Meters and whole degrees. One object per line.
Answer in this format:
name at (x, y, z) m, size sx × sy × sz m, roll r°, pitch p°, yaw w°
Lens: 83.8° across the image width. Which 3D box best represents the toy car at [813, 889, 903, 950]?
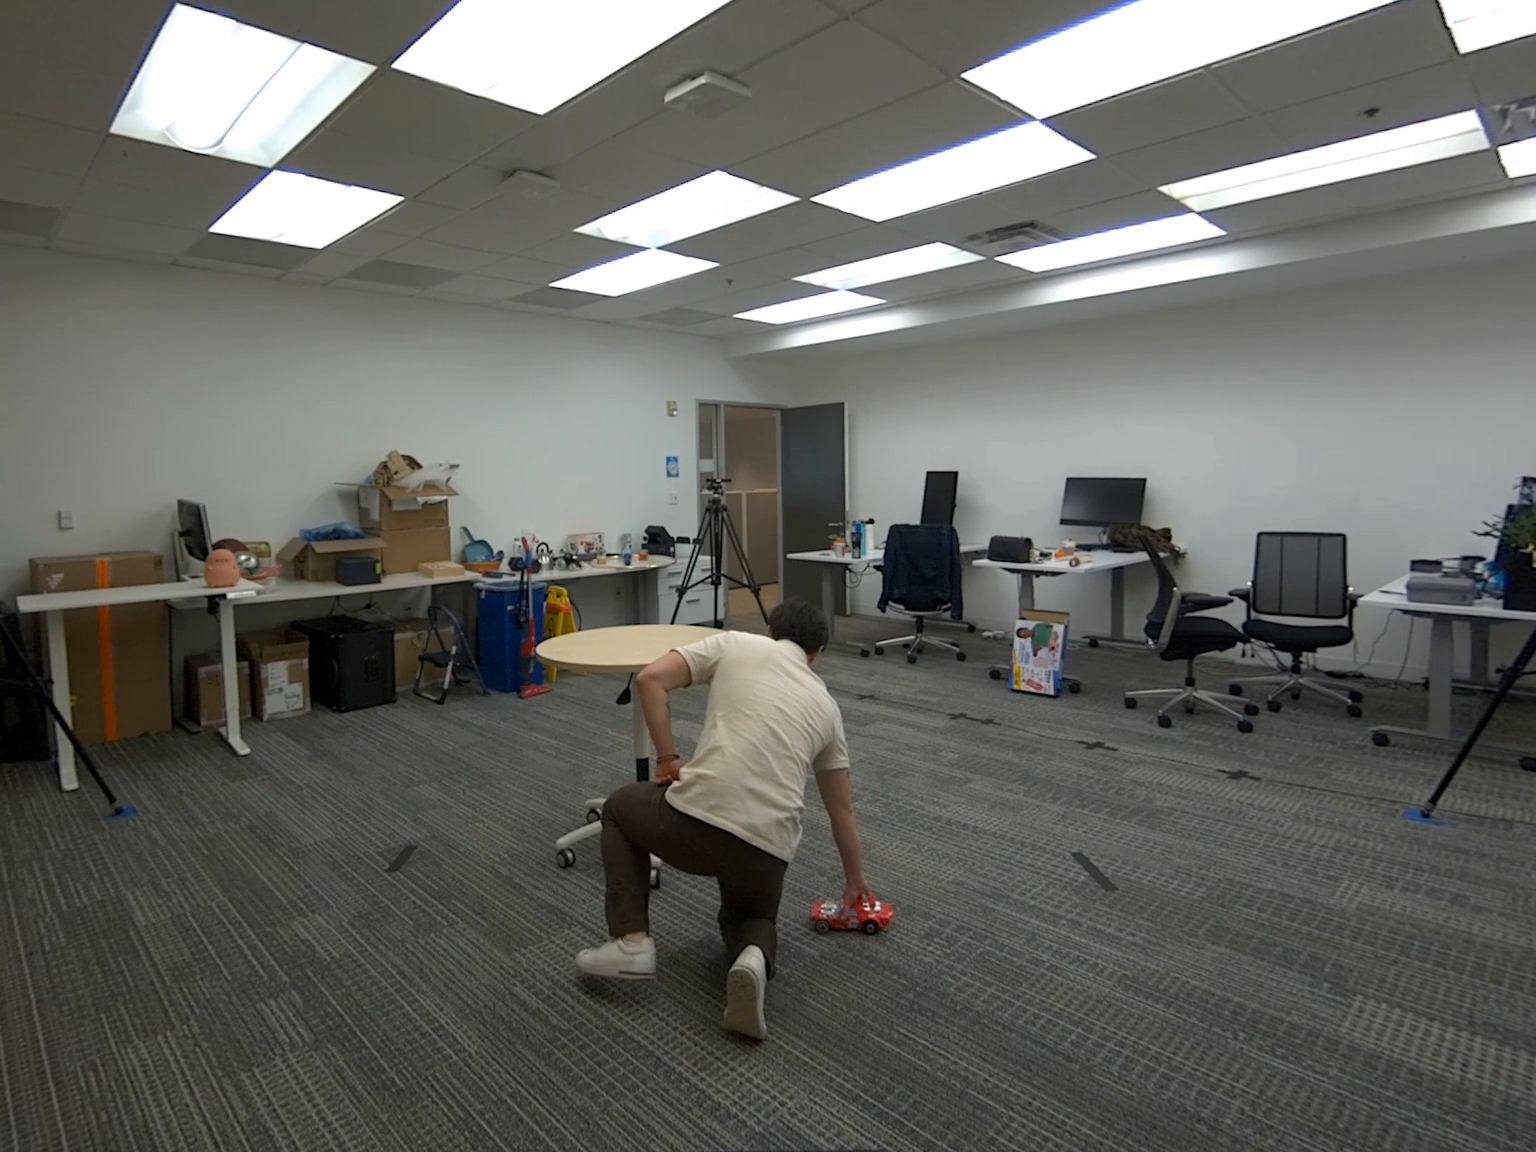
toy car at (0.274, 1.063, 2.656) m, size 0.256 × 0.083 × 0.130 m, roll -12°, pitch 5°, yaw 7°
